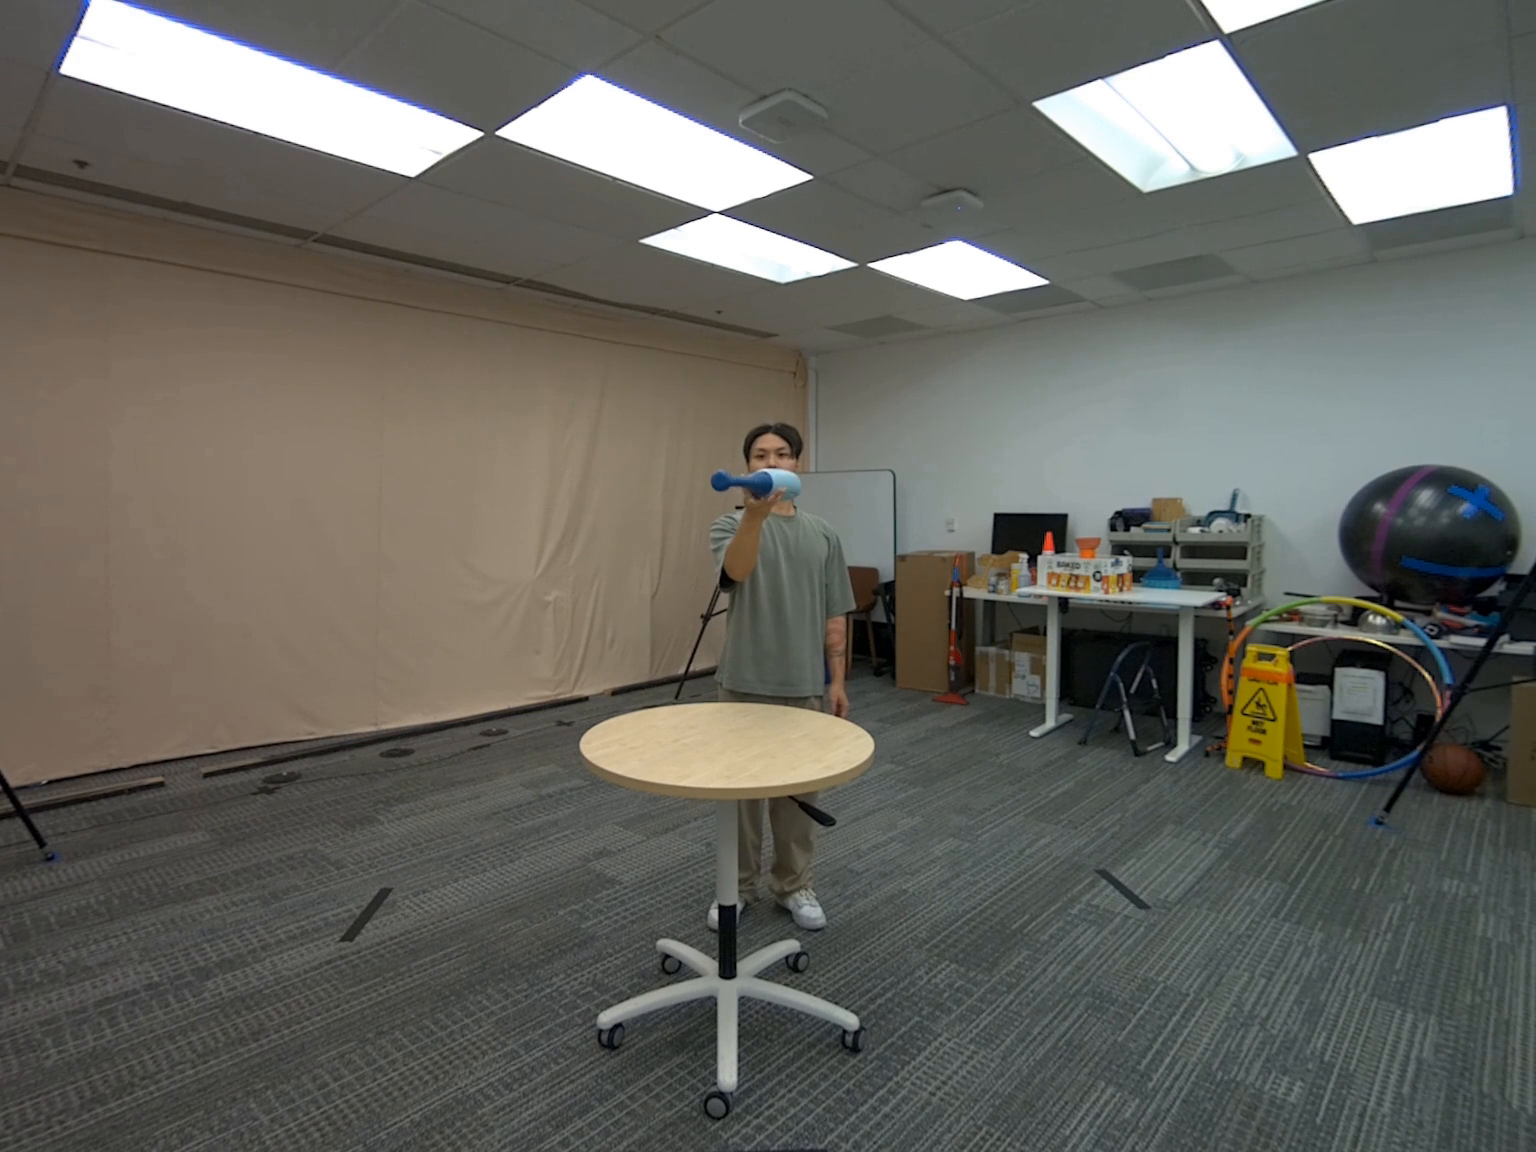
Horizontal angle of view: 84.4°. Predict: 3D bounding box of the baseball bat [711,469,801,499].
[{"bbox_3d":[-0.022,-0.236,2.193,0.091,0.089,0.533,1,6,19],"label":"baseball bat"}]
